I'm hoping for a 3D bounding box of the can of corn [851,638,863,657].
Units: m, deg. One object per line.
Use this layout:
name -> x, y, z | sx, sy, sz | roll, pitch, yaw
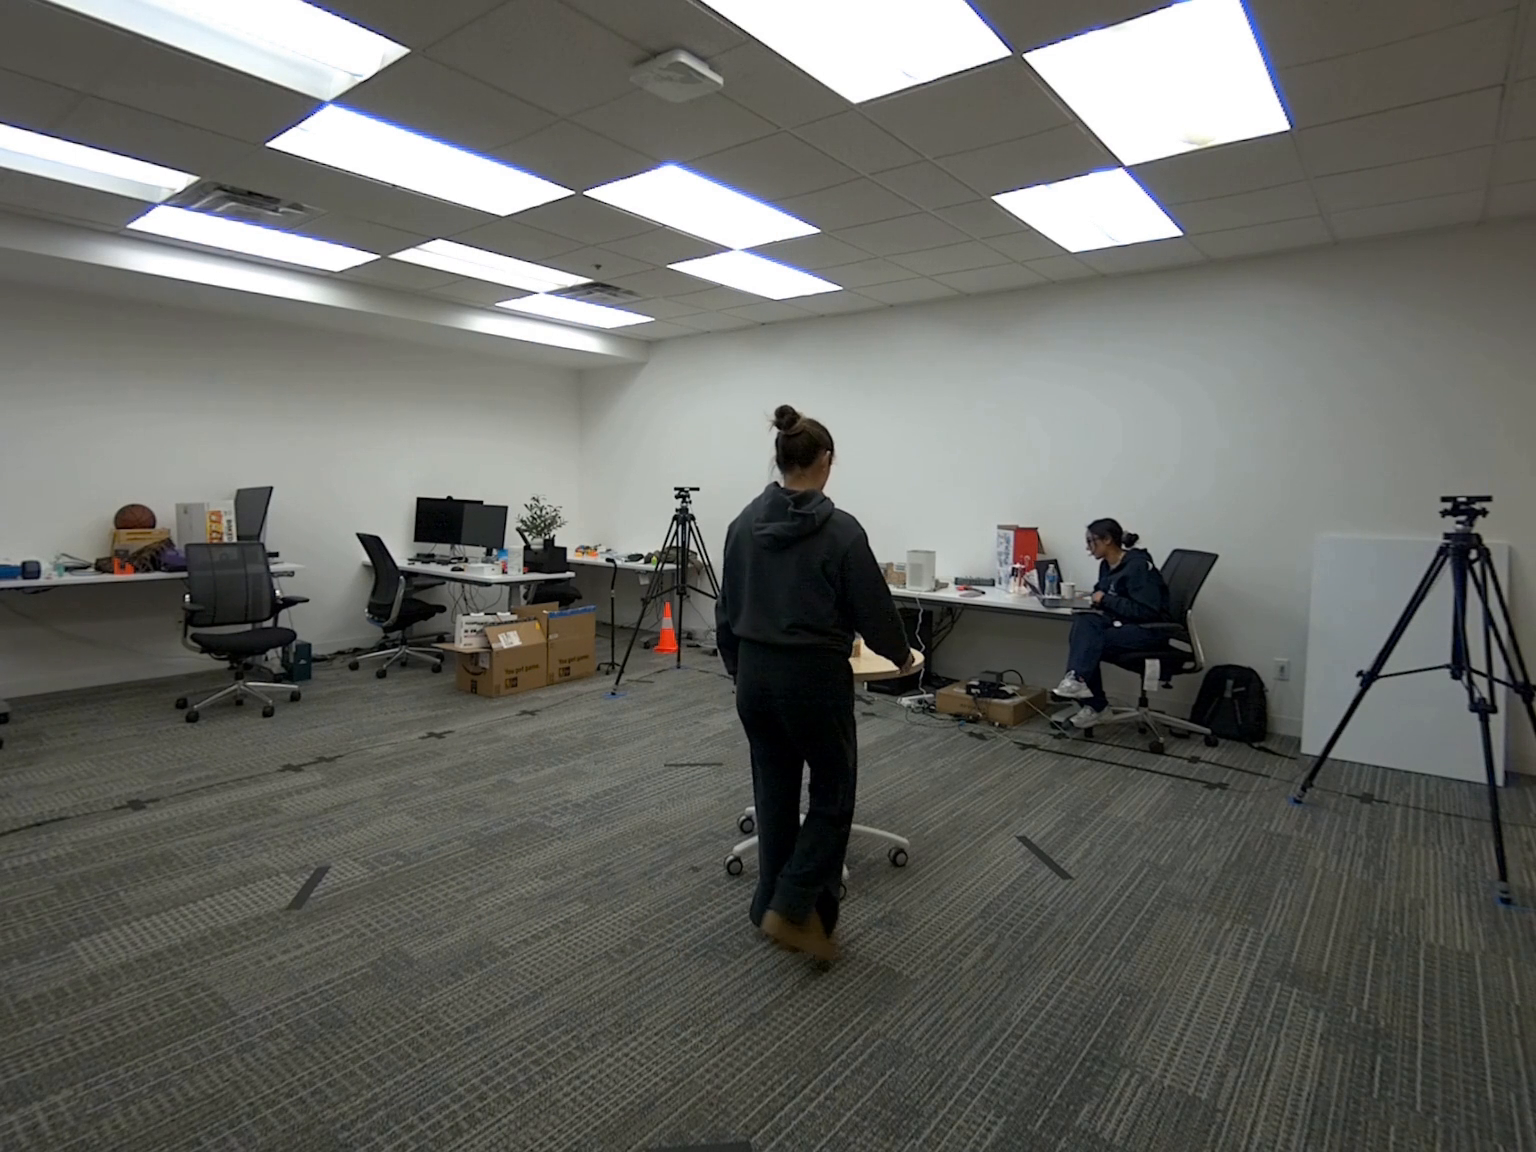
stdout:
can of corn -> 0.313, 0.238, 3.126 | 0.074, 0.110, 0.075 | 3, 6, -2
